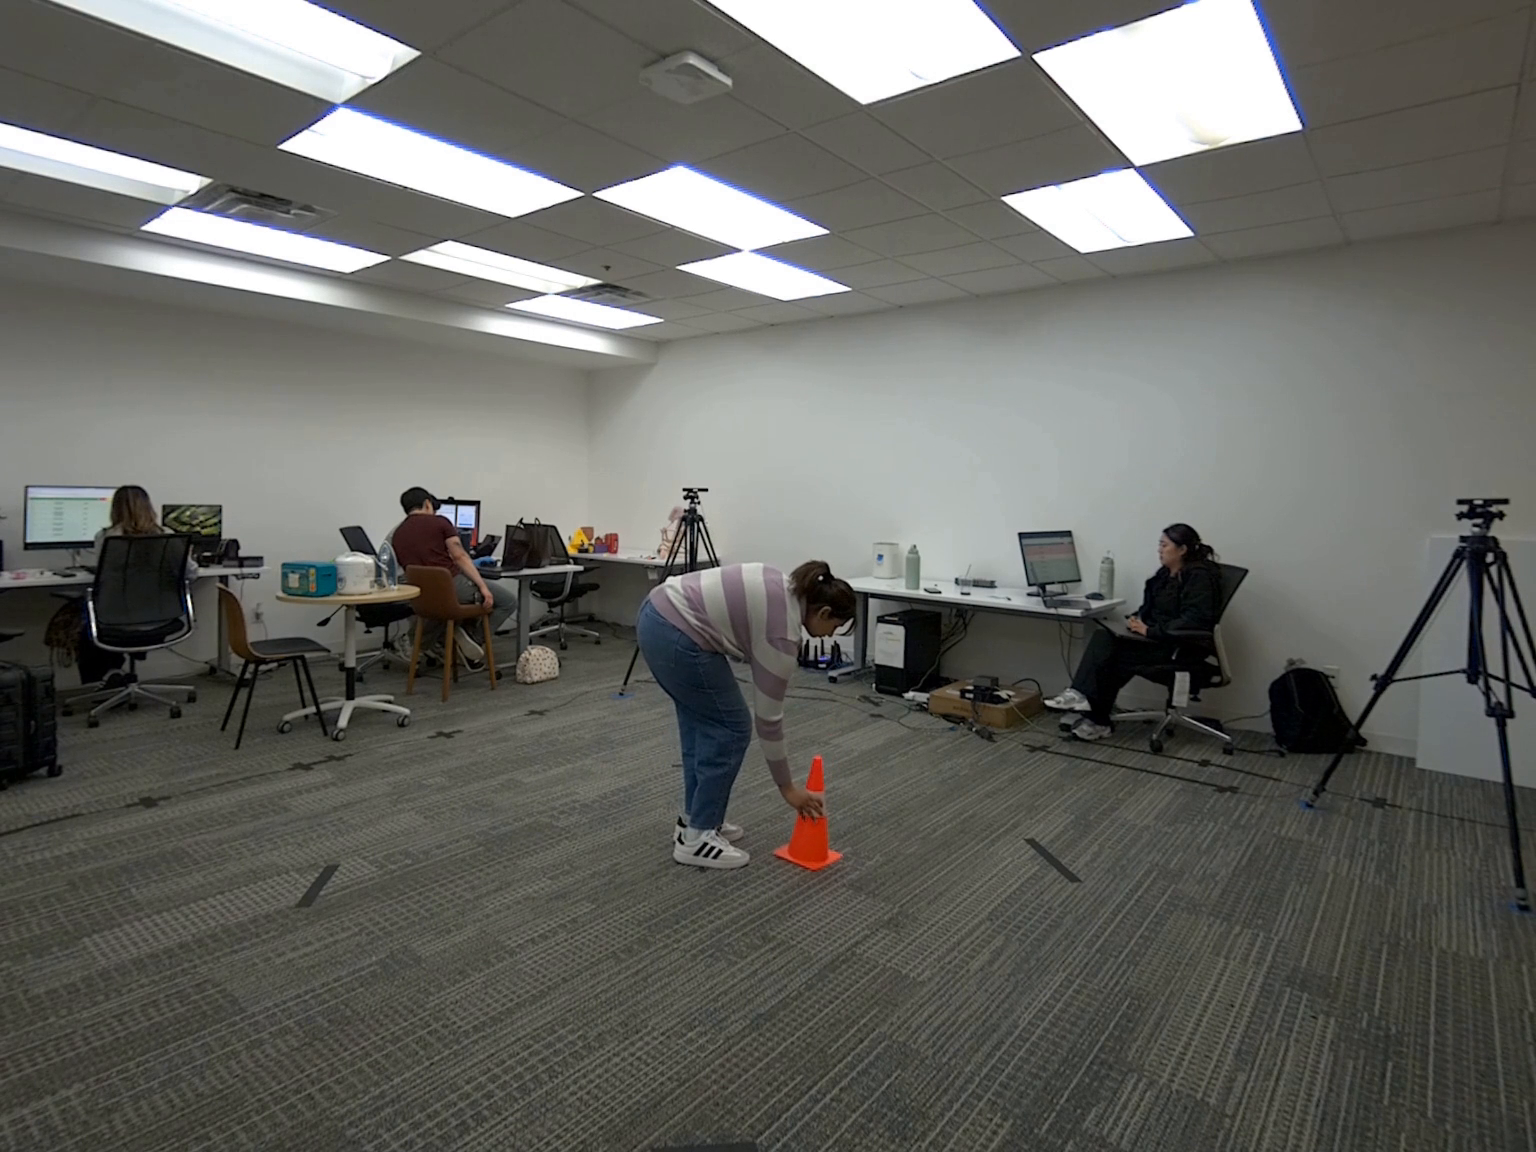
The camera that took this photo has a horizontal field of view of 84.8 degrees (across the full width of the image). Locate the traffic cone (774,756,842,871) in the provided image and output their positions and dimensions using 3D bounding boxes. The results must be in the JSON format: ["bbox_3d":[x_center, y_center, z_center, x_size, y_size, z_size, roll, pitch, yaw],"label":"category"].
[{"bbox_3d":[0.162,0.876,3.231,0.210,0.382,0.199,7,5,37],"label":"traffic cone"}]
